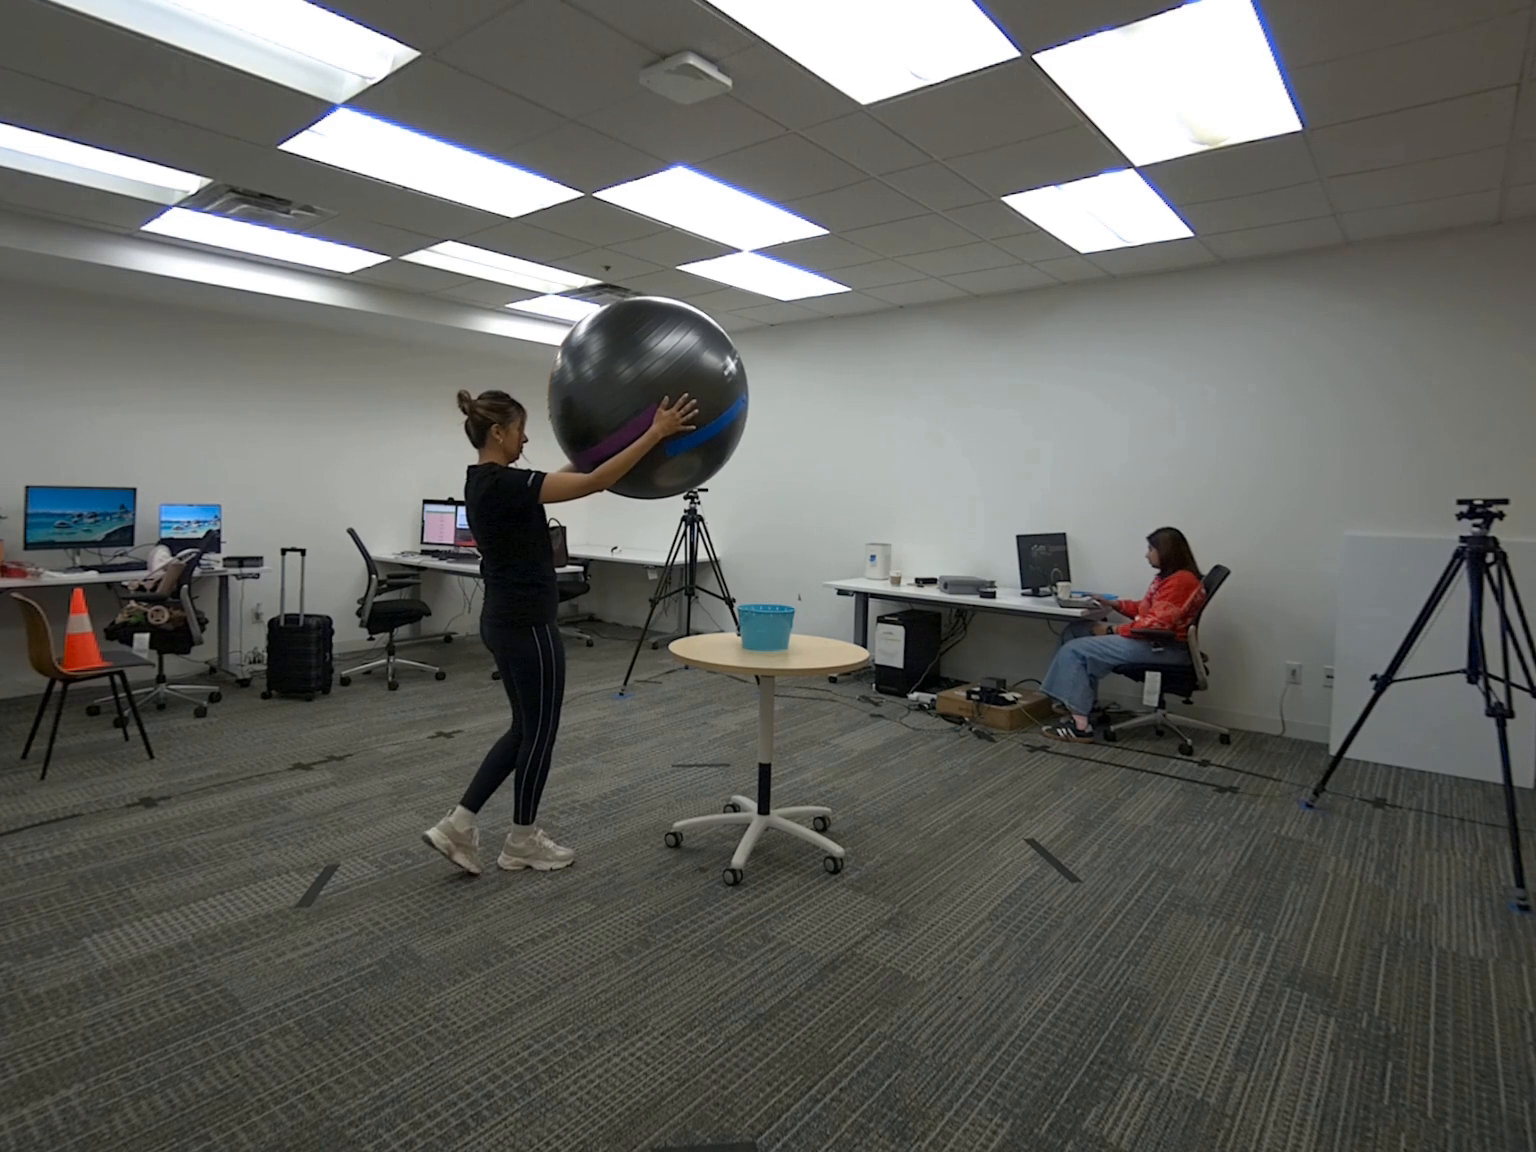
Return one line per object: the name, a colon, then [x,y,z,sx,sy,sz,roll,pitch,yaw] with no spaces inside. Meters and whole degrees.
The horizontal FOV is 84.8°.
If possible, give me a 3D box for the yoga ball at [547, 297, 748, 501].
yoga ball: [-0.461,-0.669,3.213,0.757,0.756,0.762,1,4,-2]
